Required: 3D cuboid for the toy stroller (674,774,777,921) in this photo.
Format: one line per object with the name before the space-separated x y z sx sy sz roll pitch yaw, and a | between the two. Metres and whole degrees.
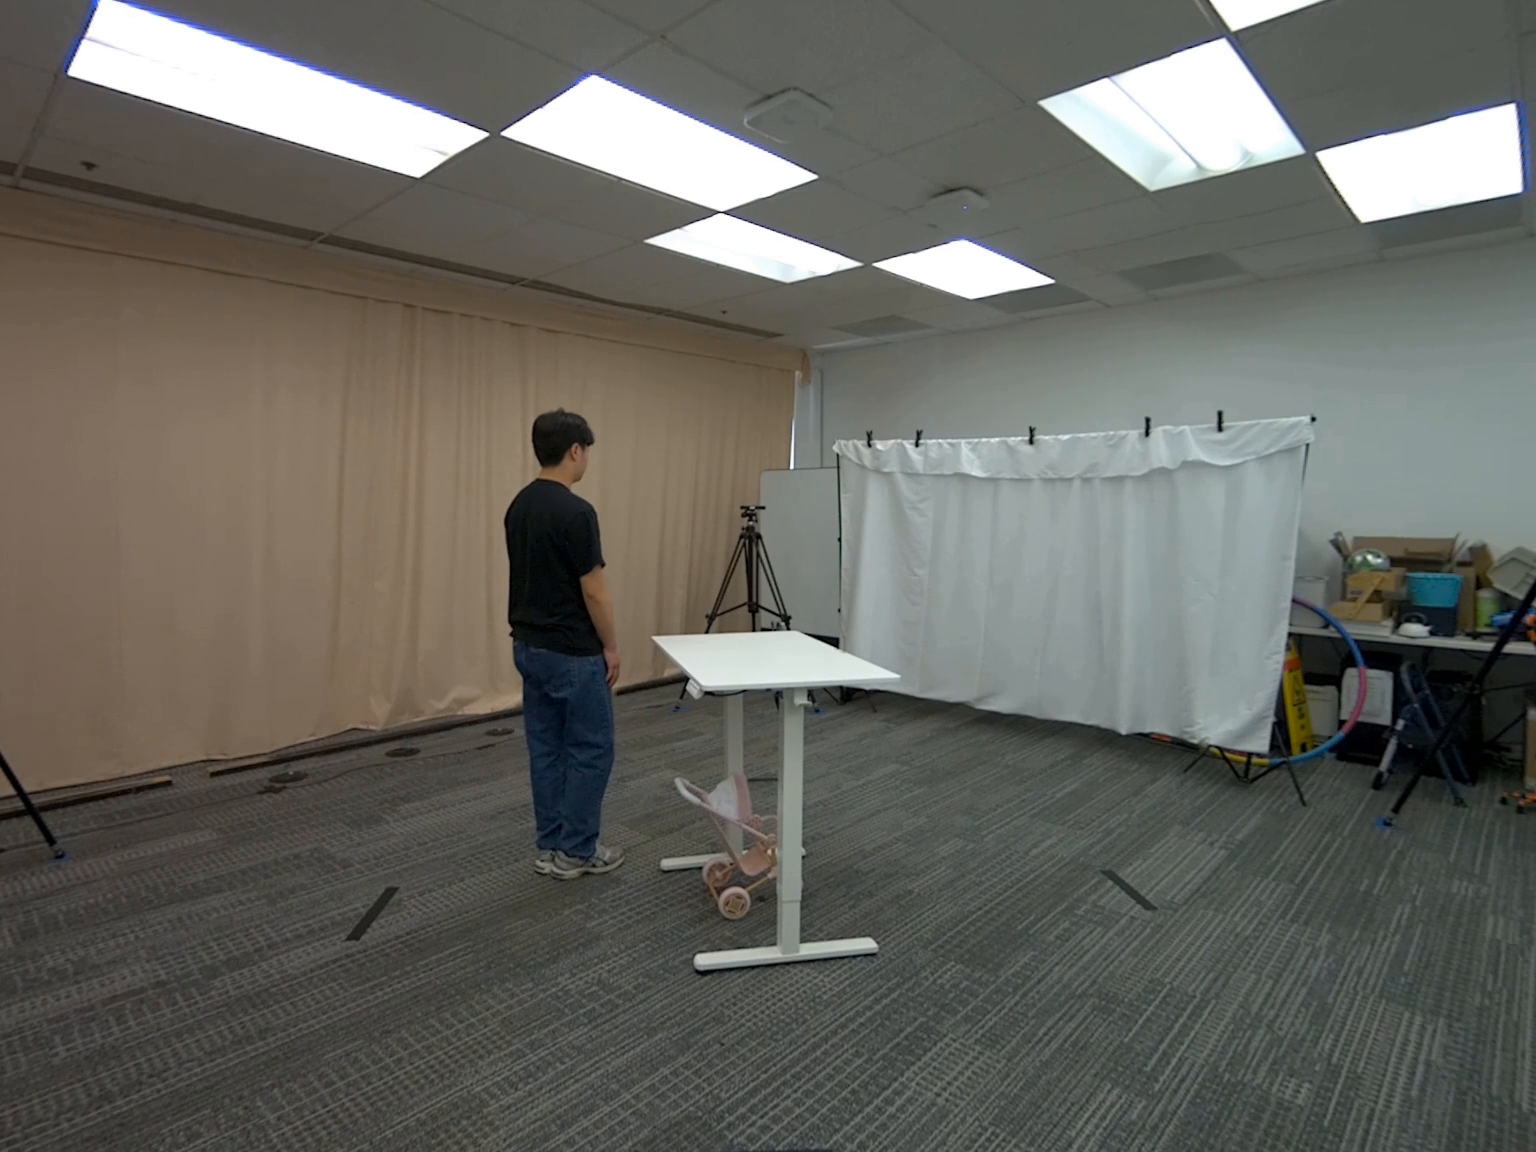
toy stroller | -0.085 0.922 2.958 0.339 0.532 0.285 -16 6 -9
